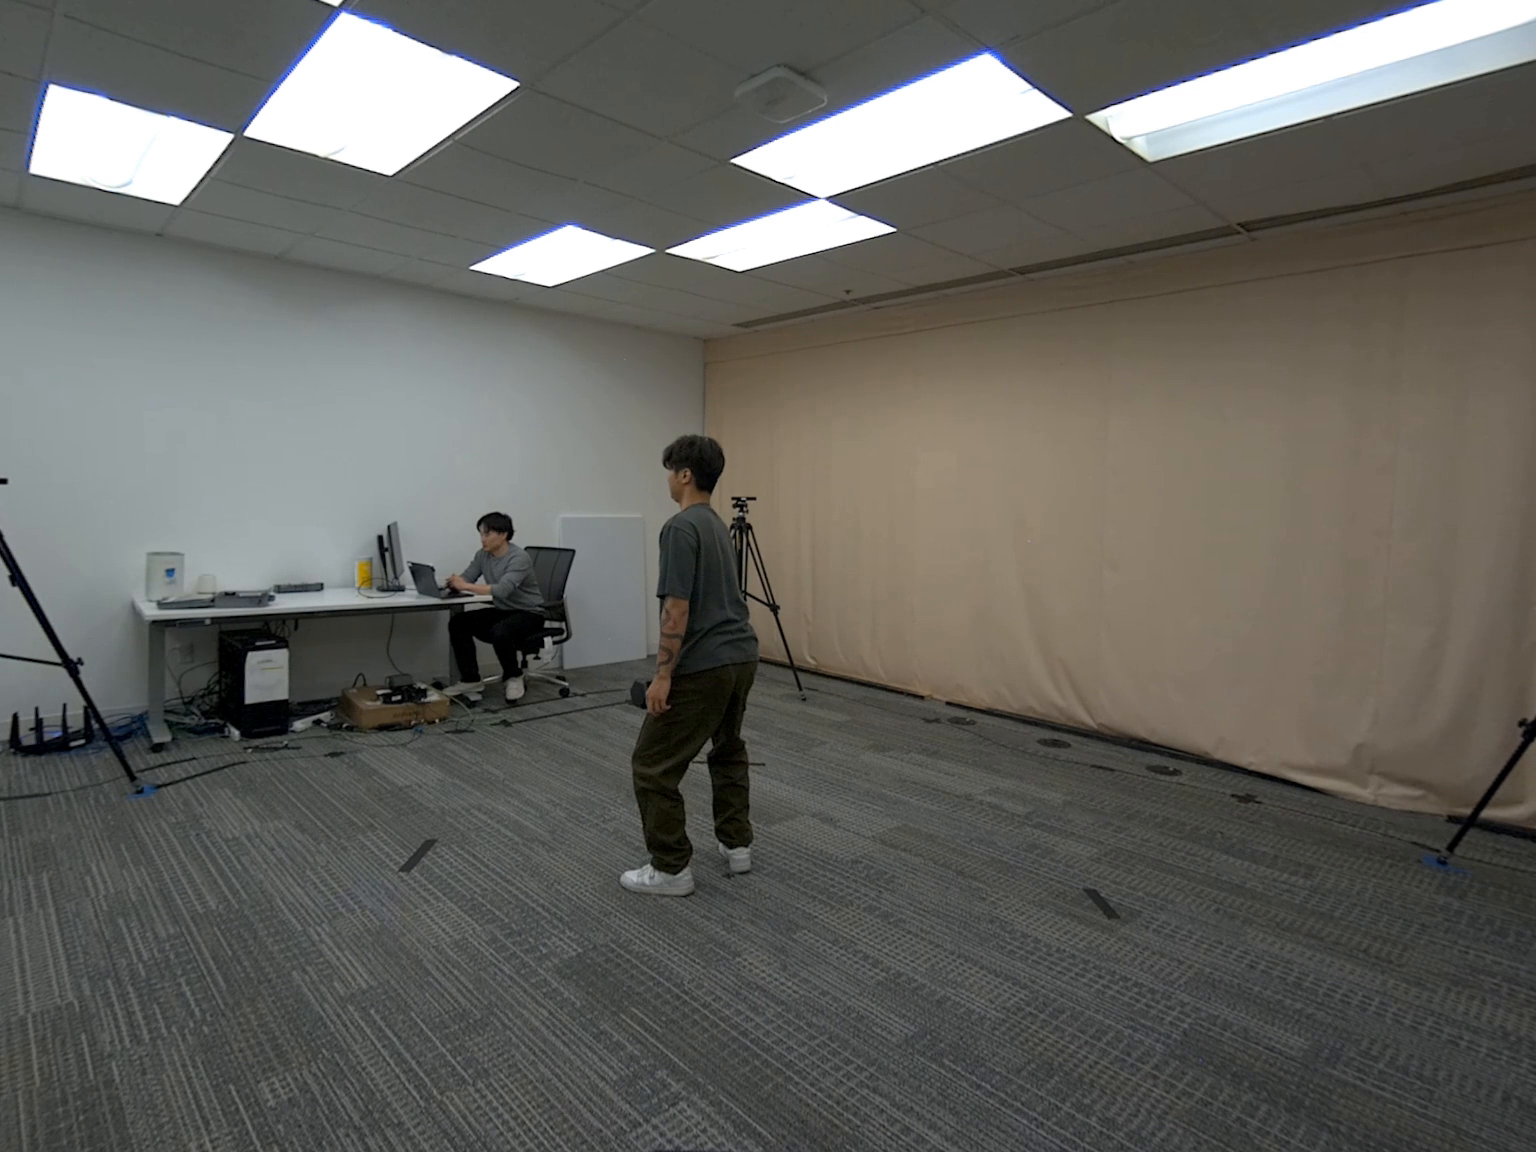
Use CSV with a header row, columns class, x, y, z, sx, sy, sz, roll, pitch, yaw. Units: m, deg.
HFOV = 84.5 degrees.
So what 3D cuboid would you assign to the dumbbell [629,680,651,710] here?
class,x,y,z,sx,sy,sz,roll,pitch,yaw
dumbbell,-0.386,0.451,3.235,0.286,0.125,0.109,3,-27,-44
